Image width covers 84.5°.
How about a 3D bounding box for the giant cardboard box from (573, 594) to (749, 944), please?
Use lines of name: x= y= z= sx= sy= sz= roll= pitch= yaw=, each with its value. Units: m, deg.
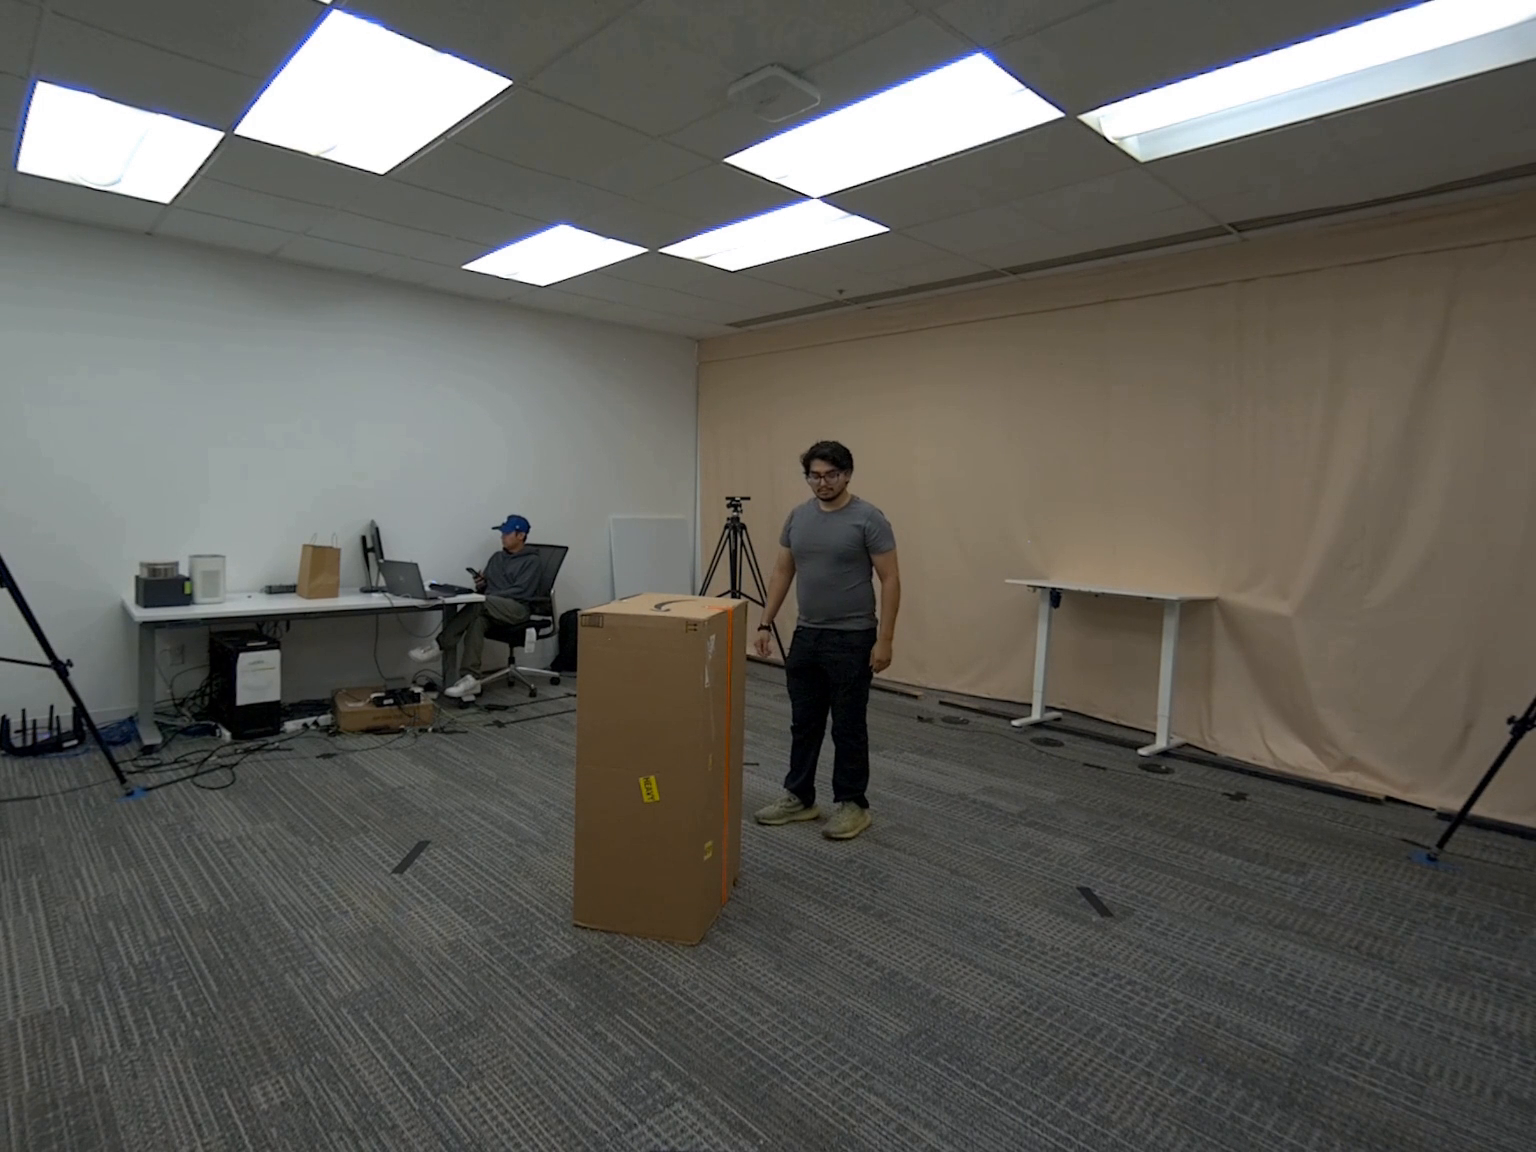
giant cardboard box: x=-0.353 y=0.609 z=2.912 sx=0.431 sy=1.024 sz=0.572 roll=2 pitch=3 yaw=13
